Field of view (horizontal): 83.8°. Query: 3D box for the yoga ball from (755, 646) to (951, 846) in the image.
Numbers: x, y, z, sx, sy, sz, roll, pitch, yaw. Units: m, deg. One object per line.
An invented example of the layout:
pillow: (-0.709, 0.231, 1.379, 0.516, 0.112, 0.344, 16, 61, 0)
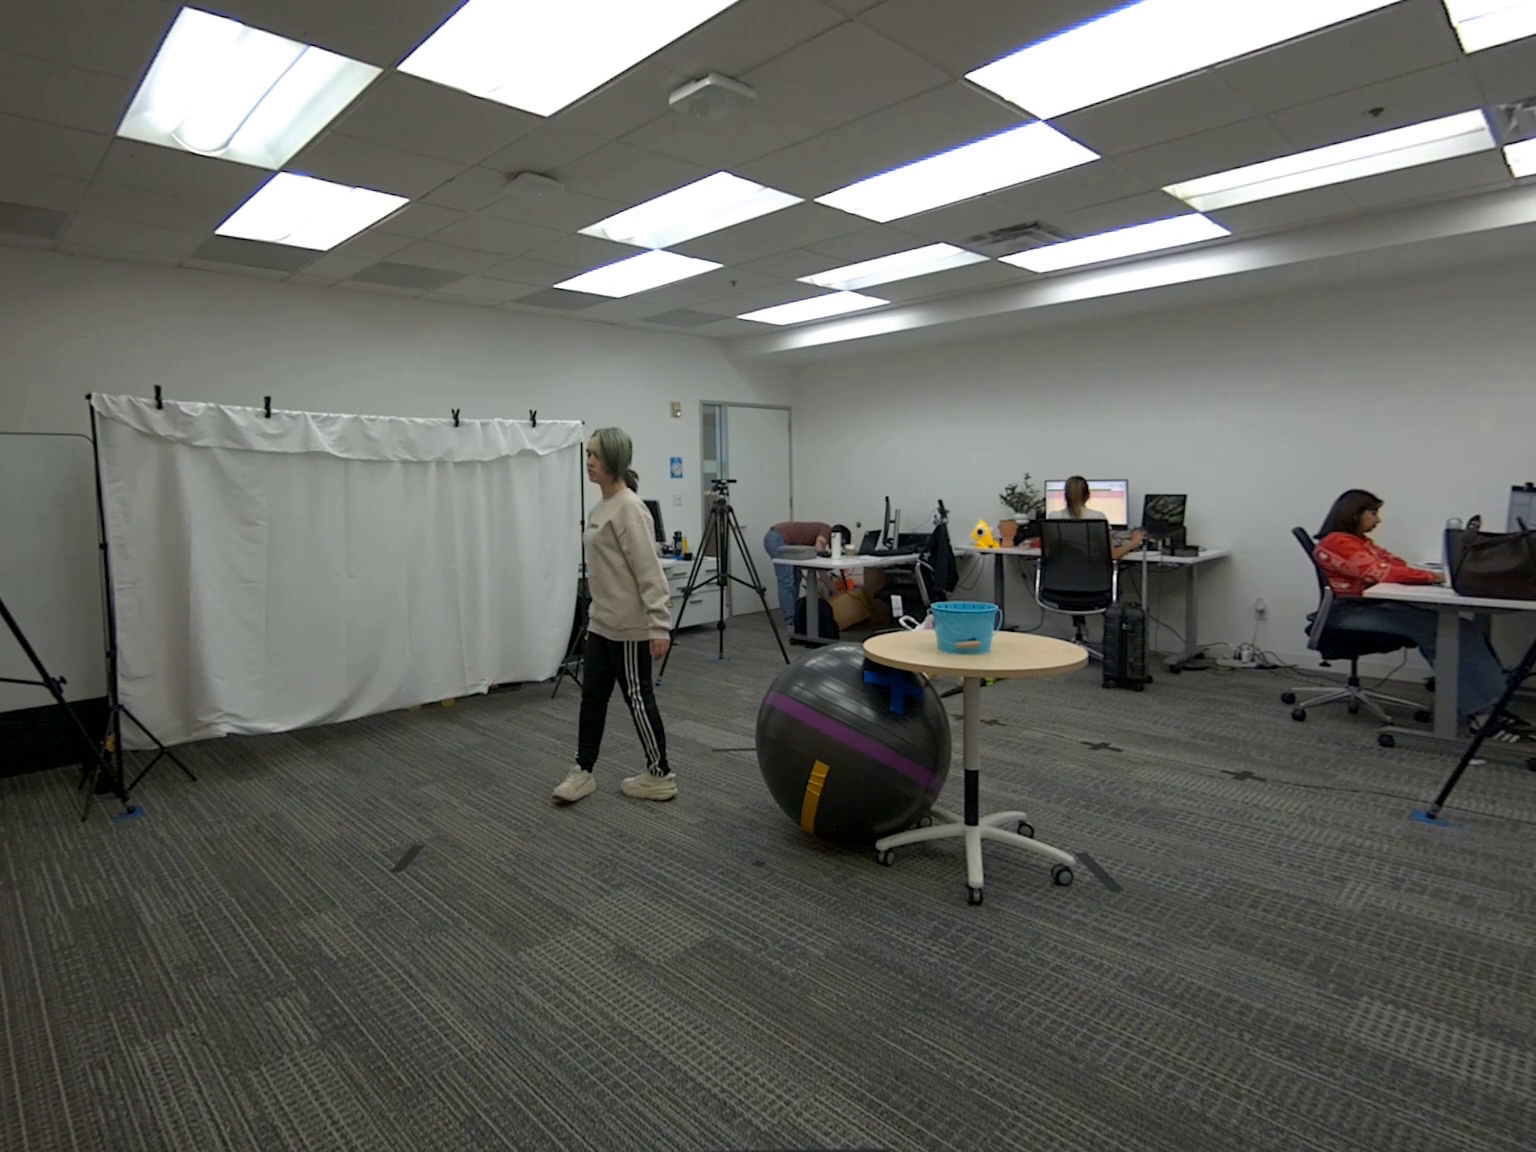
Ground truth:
yoga ball: (0.338, 0.647, 3.344, 0.757, 0.755, 0.762, -1, 5, -2)
